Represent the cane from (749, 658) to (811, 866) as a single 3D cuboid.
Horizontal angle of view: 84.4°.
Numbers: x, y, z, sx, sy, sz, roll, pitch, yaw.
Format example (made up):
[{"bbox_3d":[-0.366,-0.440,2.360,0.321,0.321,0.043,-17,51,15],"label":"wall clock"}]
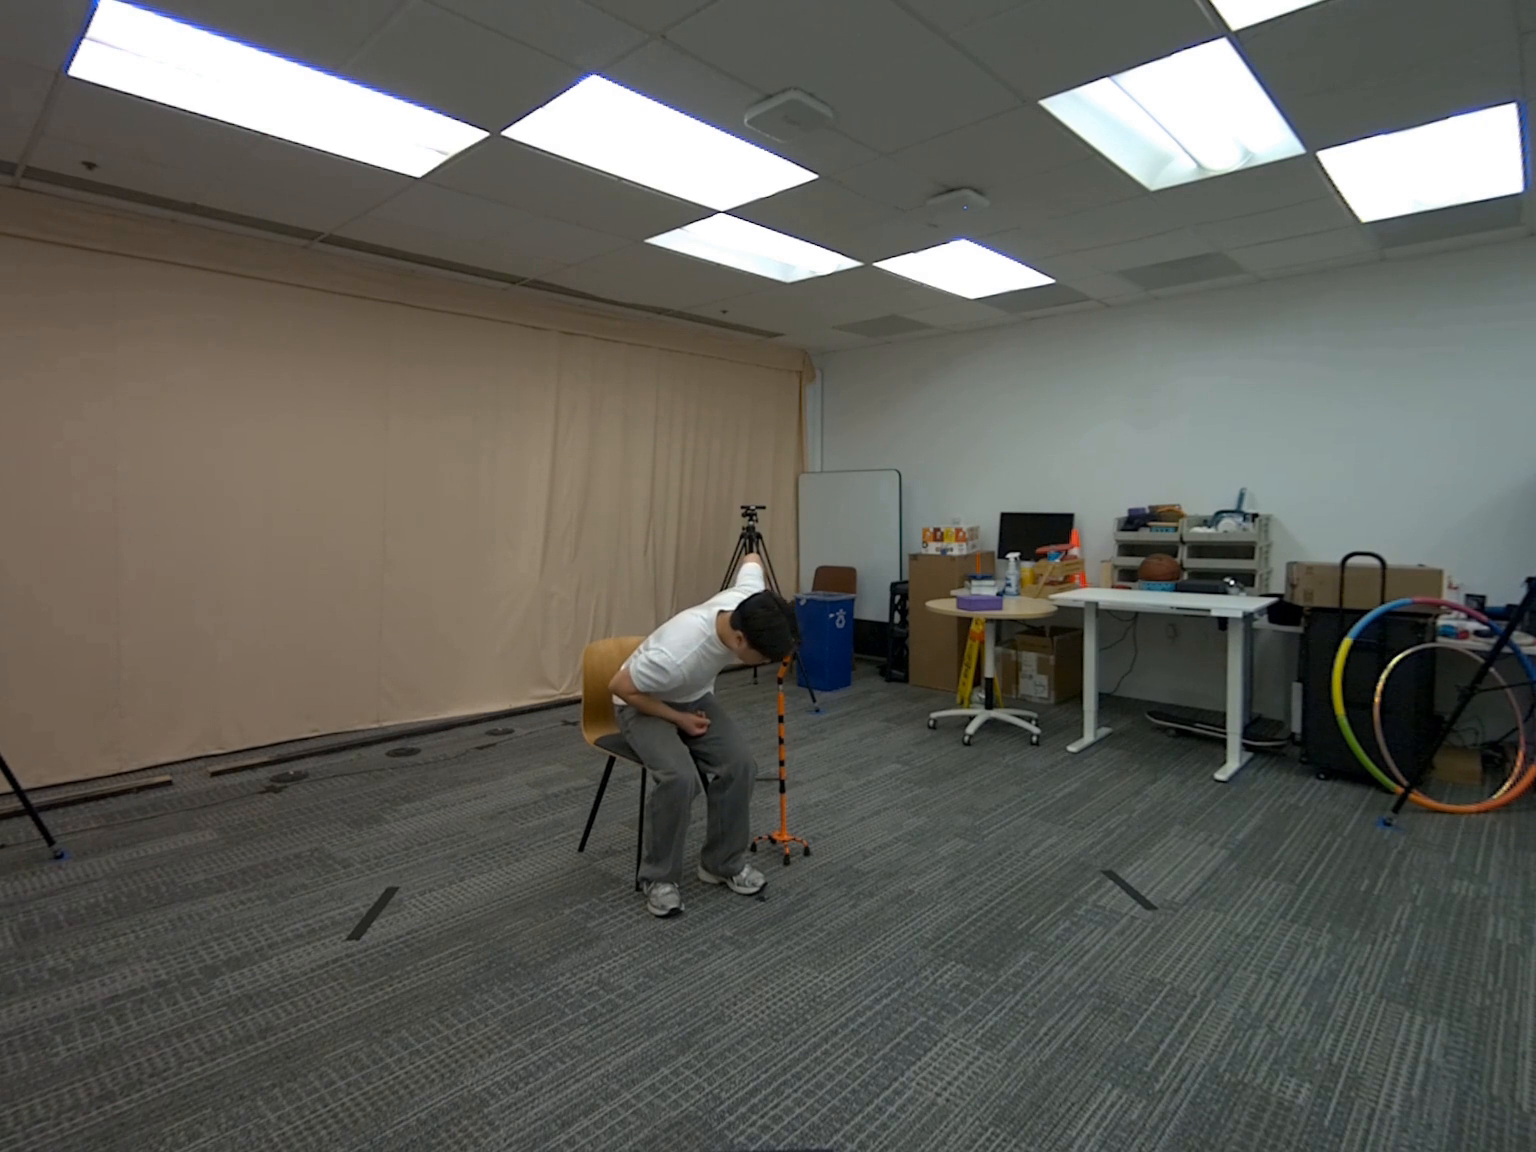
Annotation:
[{"bbox_3d":[0.059,0.654,3.363,0.213,0.908,0.147,0,0,44],"label":"cane"}]
